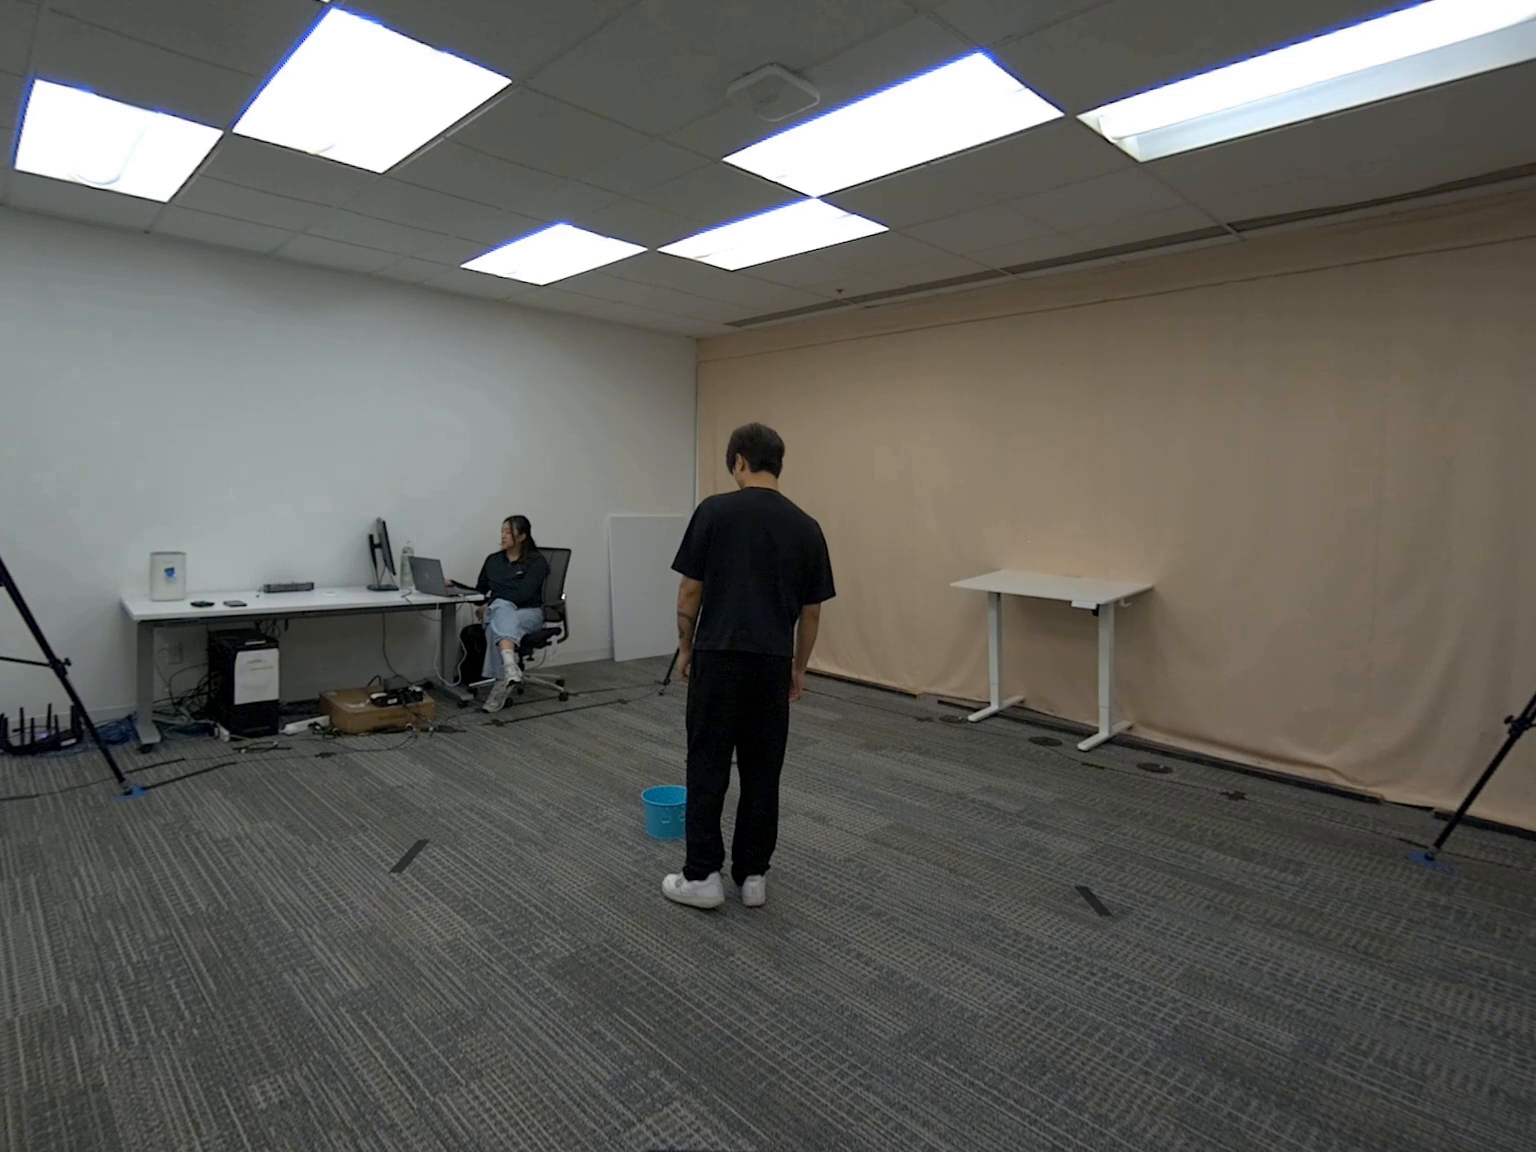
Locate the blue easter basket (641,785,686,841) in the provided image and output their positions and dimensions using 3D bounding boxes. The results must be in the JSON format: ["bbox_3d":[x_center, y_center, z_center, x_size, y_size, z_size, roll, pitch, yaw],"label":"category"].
[{"bbox_3d":[-0.419,0.985,3.506,0.243,0.155,0.244,2,5,-2],"label":"blue easter basket"}]
